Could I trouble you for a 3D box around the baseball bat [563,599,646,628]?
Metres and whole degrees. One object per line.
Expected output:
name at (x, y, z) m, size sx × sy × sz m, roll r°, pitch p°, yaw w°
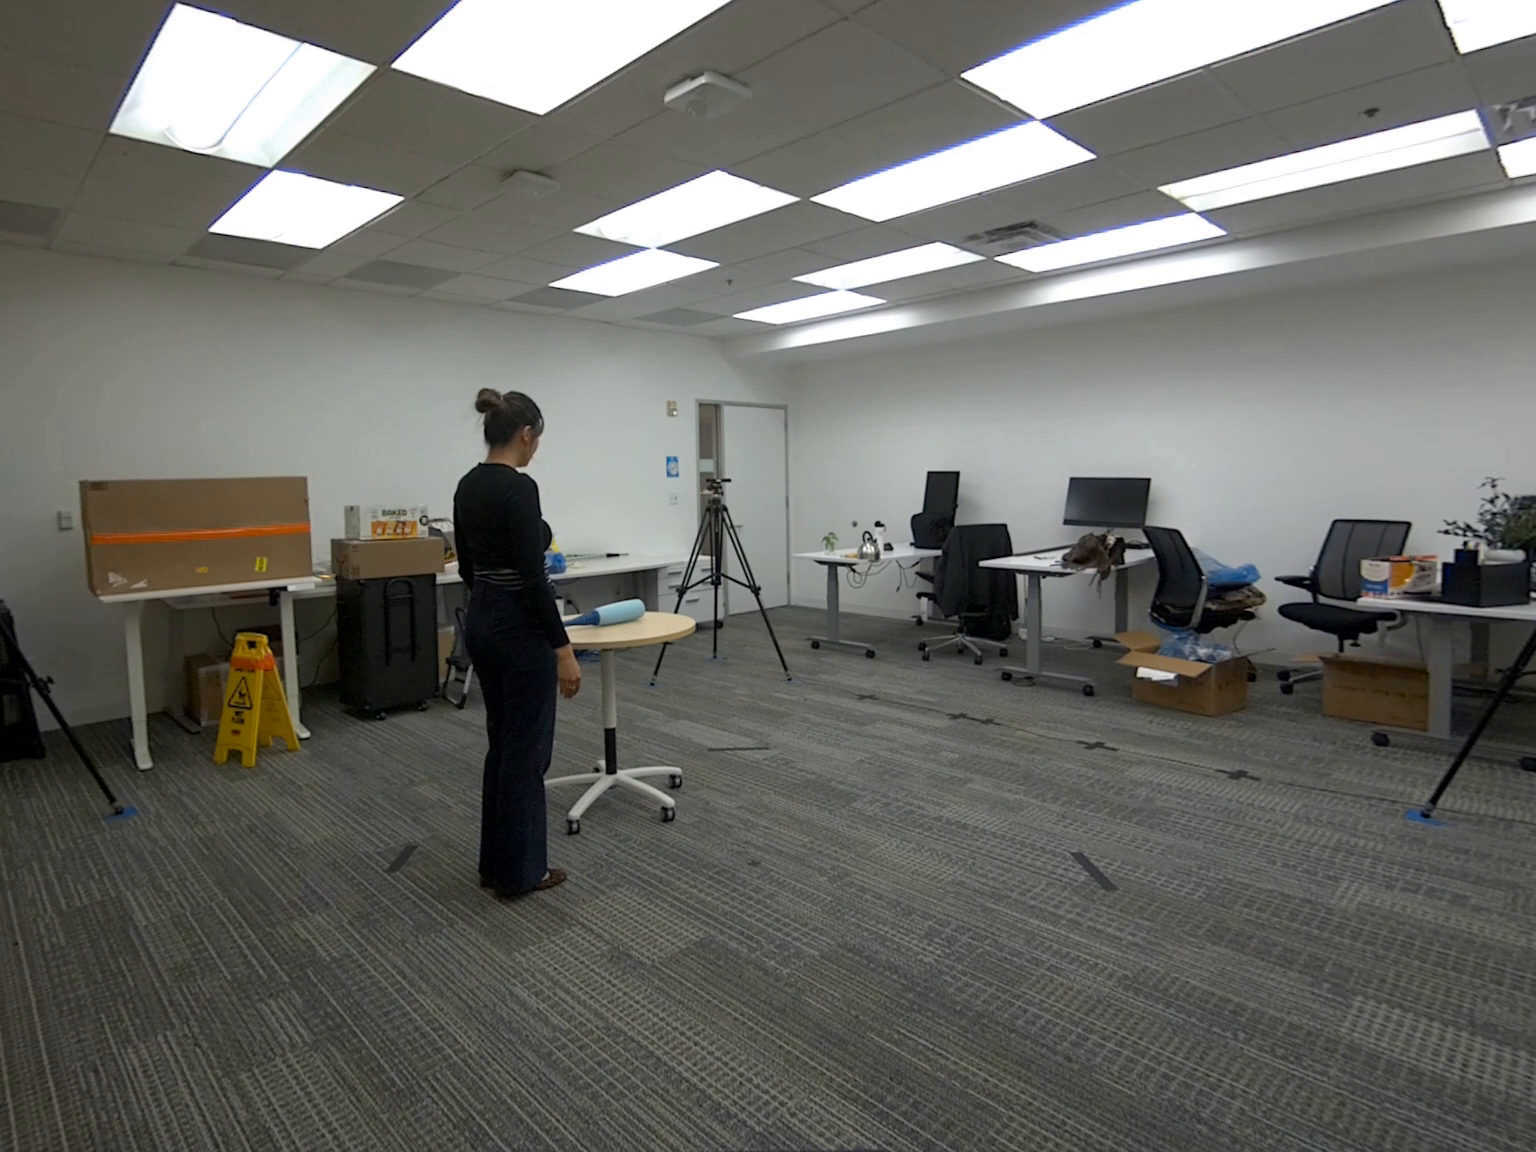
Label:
baseball bat at (-0.752, 0.182, 3.609) m, size 0.092 × 0.088 × 0.530 m, roll 4°, pitch 11°, yaw 44°
